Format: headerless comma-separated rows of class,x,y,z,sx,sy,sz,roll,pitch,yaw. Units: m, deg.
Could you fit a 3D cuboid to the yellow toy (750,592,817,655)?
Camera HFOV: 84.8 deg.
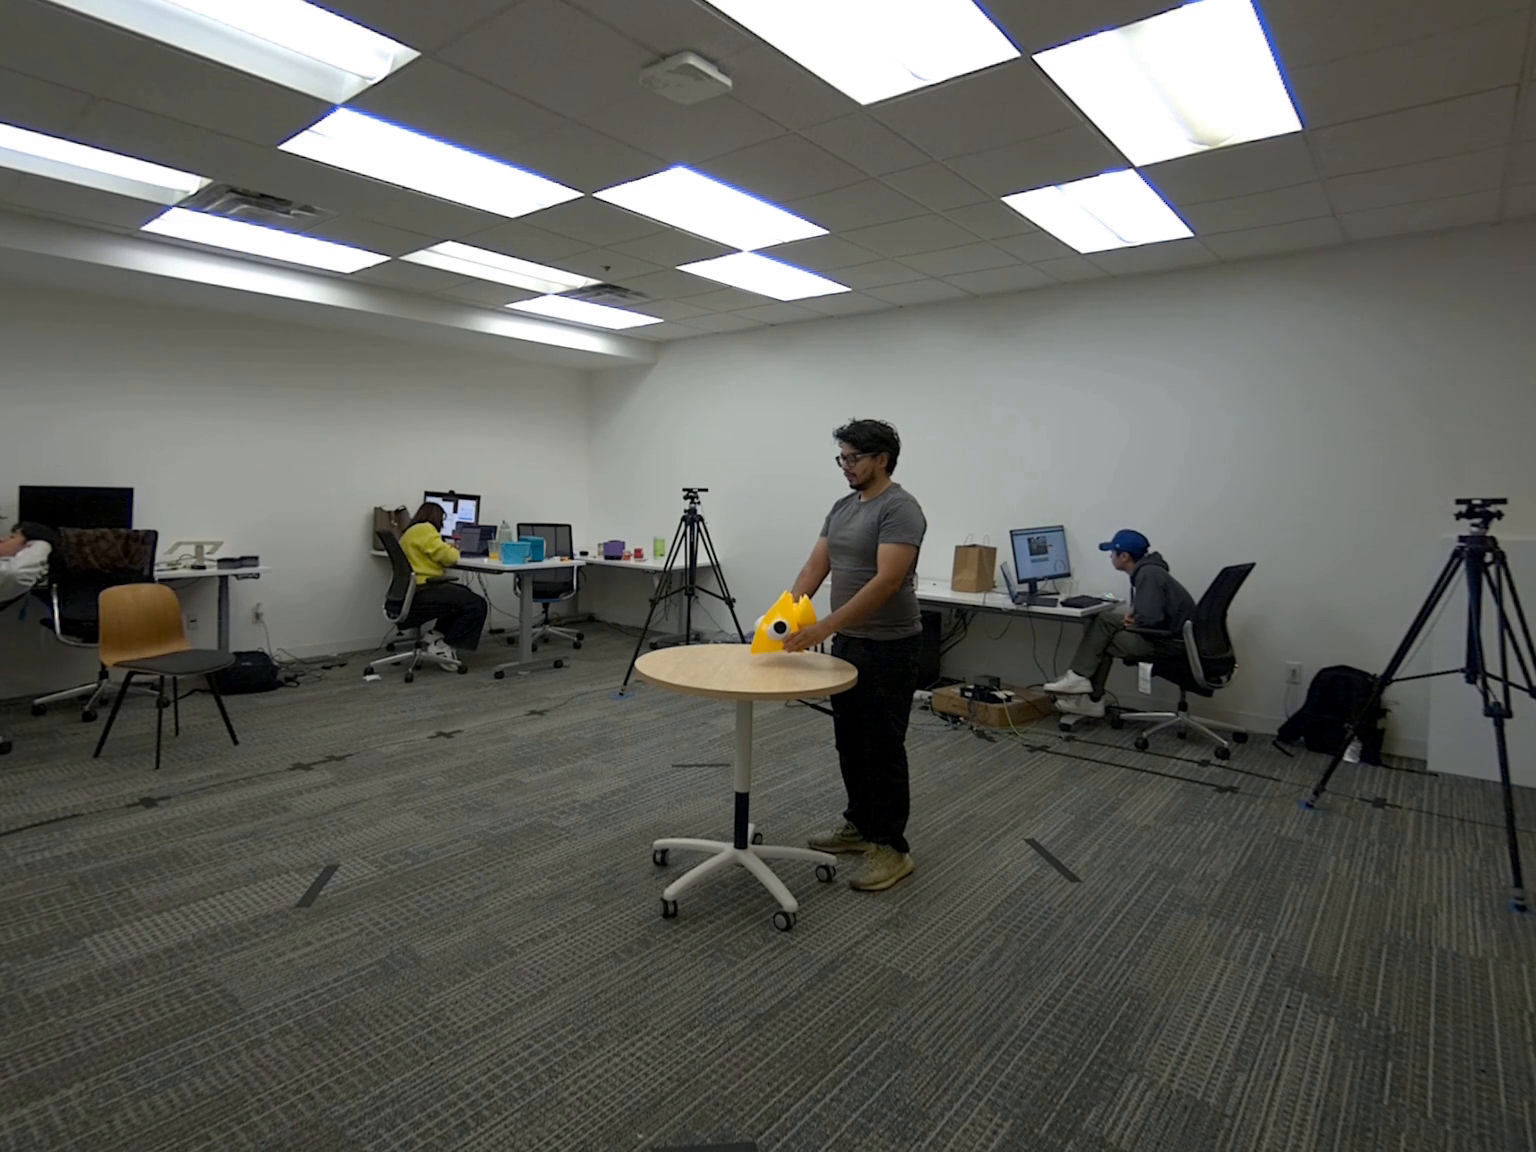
yellow toy,0.017,0.178,2.974,0.227,0.190,0.211,-19,14,-24
